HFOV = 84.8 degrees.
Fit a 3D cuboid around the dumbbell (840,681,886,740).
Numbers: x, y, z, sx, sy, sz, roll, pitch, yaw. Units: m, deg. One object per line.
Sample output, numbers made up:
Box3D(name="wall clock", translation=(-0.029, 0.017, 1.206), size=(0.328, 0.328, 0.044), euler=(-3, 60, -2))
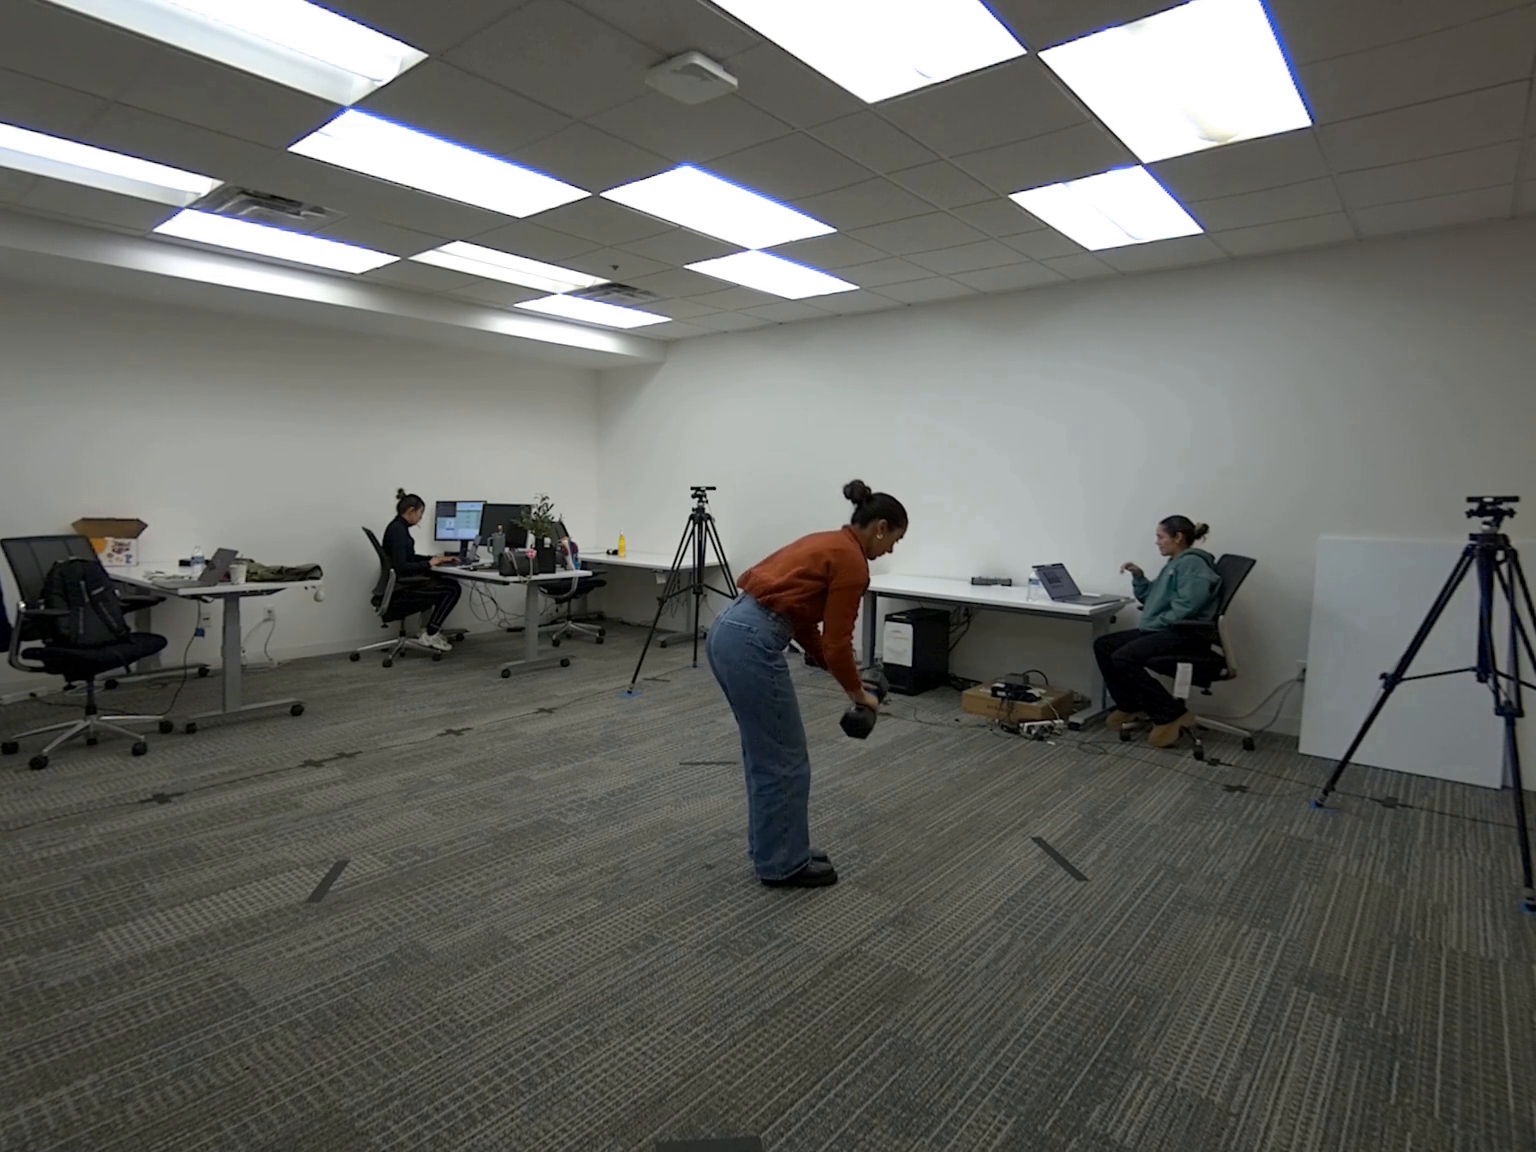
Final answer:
Box3D(name="dumbbell", translation=(0.345, 0.461, 3.078), size=(0.110, 0.121, 0.294), euler=(-27, 14, 31))
